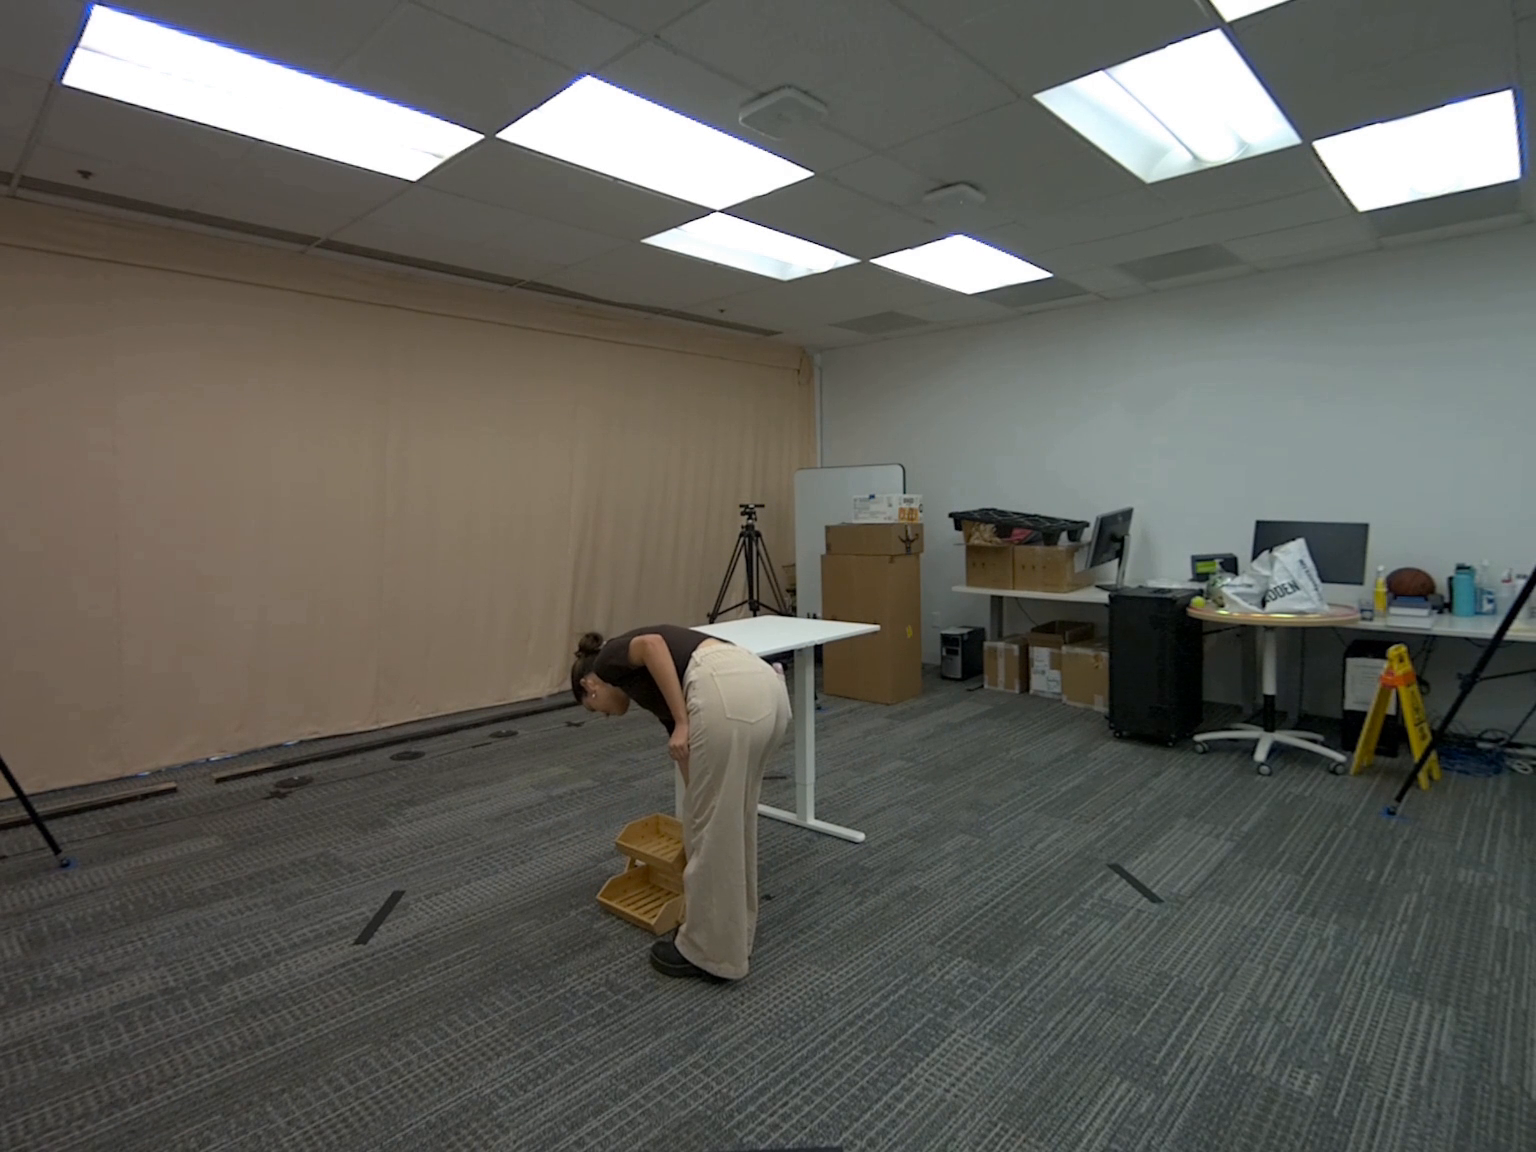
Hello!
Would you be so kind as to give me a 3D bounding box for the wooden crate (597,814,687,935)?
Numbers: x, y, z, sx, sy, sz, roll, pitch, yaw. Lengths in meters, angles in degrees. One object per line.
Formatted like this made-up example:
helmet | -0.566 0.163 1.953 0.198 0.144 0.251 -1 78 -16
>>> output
wooden crate | -0.387 1.019 2.908 0.335 0.273 0.293 0 3 42
